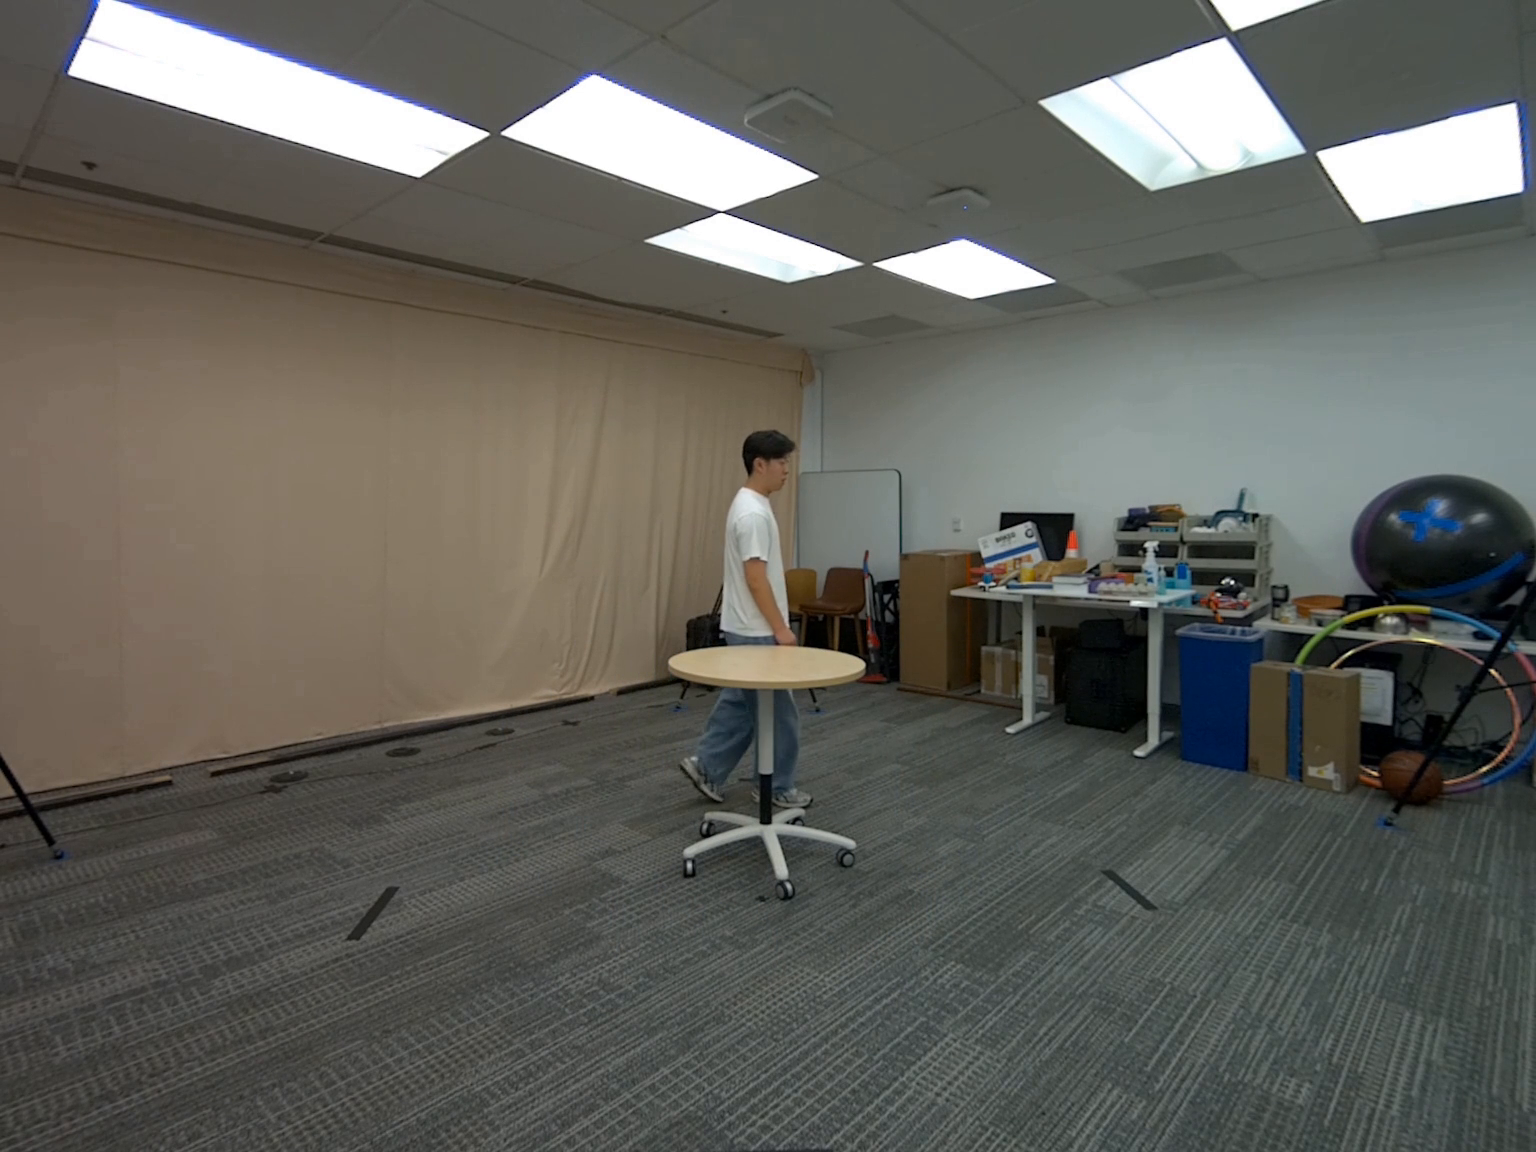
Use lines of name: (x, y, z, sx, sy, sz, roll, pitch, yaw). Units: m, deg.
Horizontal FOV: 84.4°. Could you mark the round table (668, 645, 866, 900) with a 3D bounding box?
round table: (-0.004, 0.724, 3.306, 0.763, 0.792, 0.766, 0, 3, -2)
